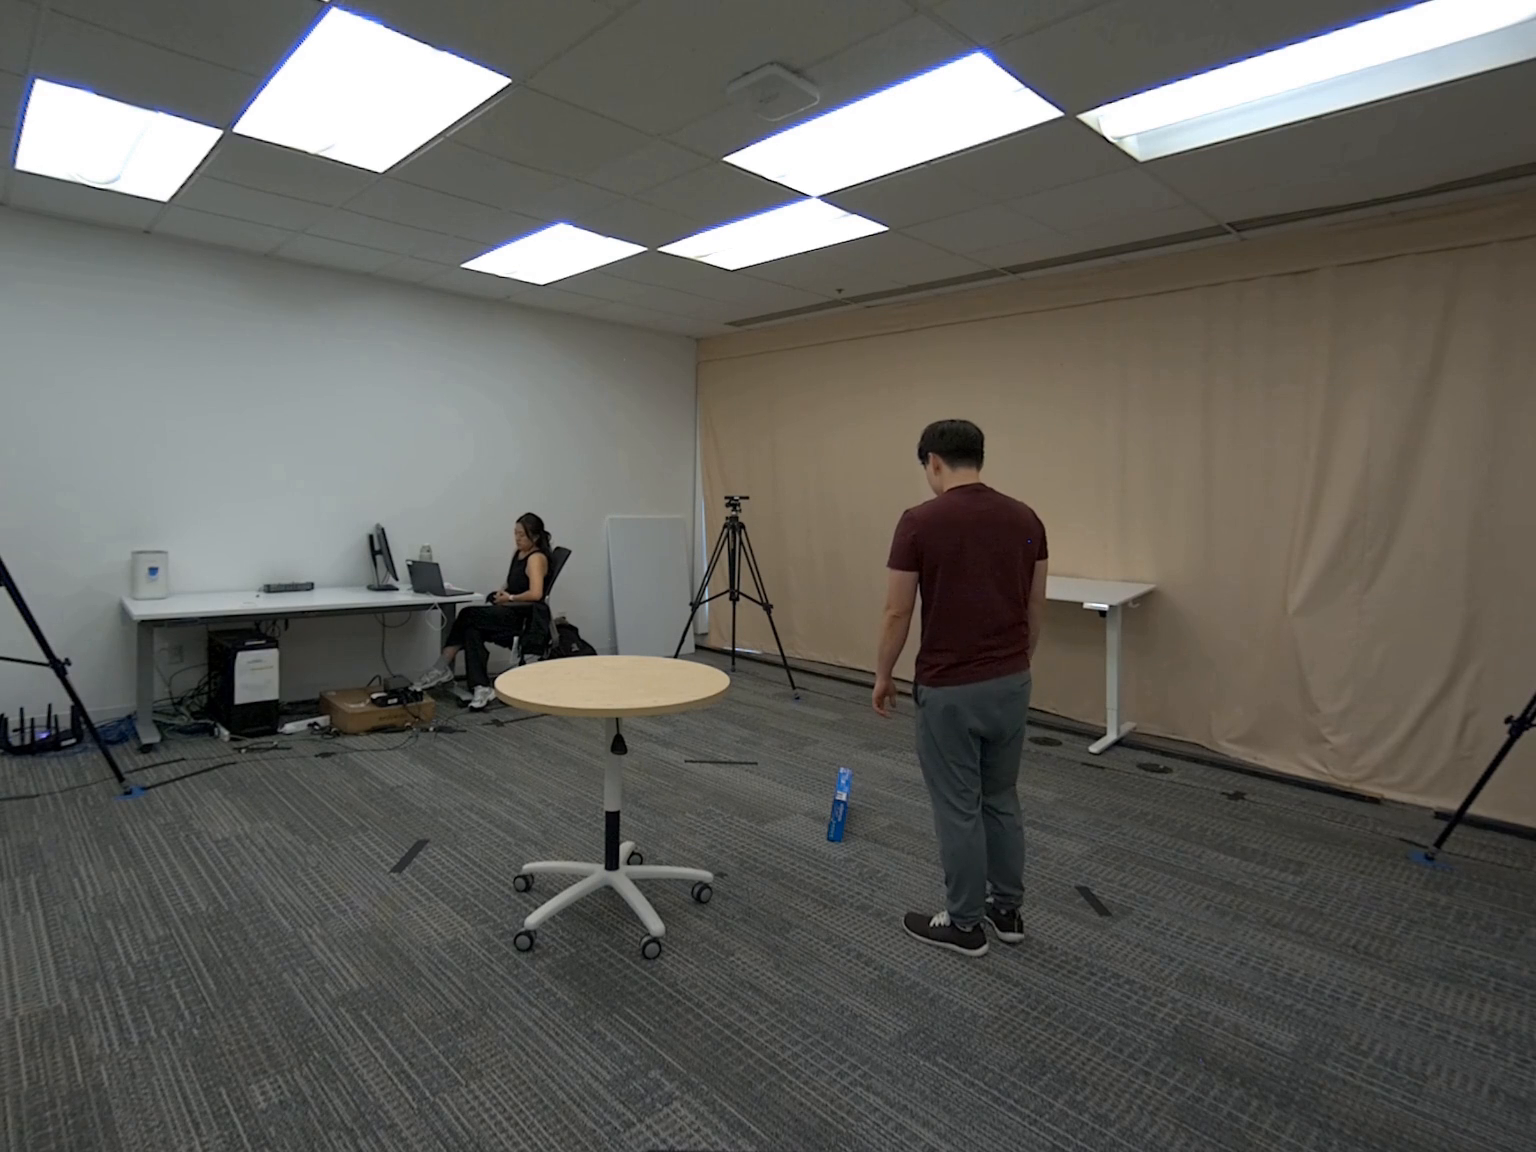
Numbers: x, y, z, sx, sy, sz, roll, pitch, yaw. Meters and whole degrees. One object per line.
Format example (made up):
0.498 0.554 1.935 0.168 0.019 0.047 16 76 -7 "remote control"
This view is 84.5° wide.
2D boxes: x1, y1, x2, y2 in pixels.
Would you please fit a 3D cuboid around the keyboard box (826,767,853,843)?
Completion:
0.305 0.981 3.645 0.059 0.175 0.435 10 6 7 "keyboard box"
